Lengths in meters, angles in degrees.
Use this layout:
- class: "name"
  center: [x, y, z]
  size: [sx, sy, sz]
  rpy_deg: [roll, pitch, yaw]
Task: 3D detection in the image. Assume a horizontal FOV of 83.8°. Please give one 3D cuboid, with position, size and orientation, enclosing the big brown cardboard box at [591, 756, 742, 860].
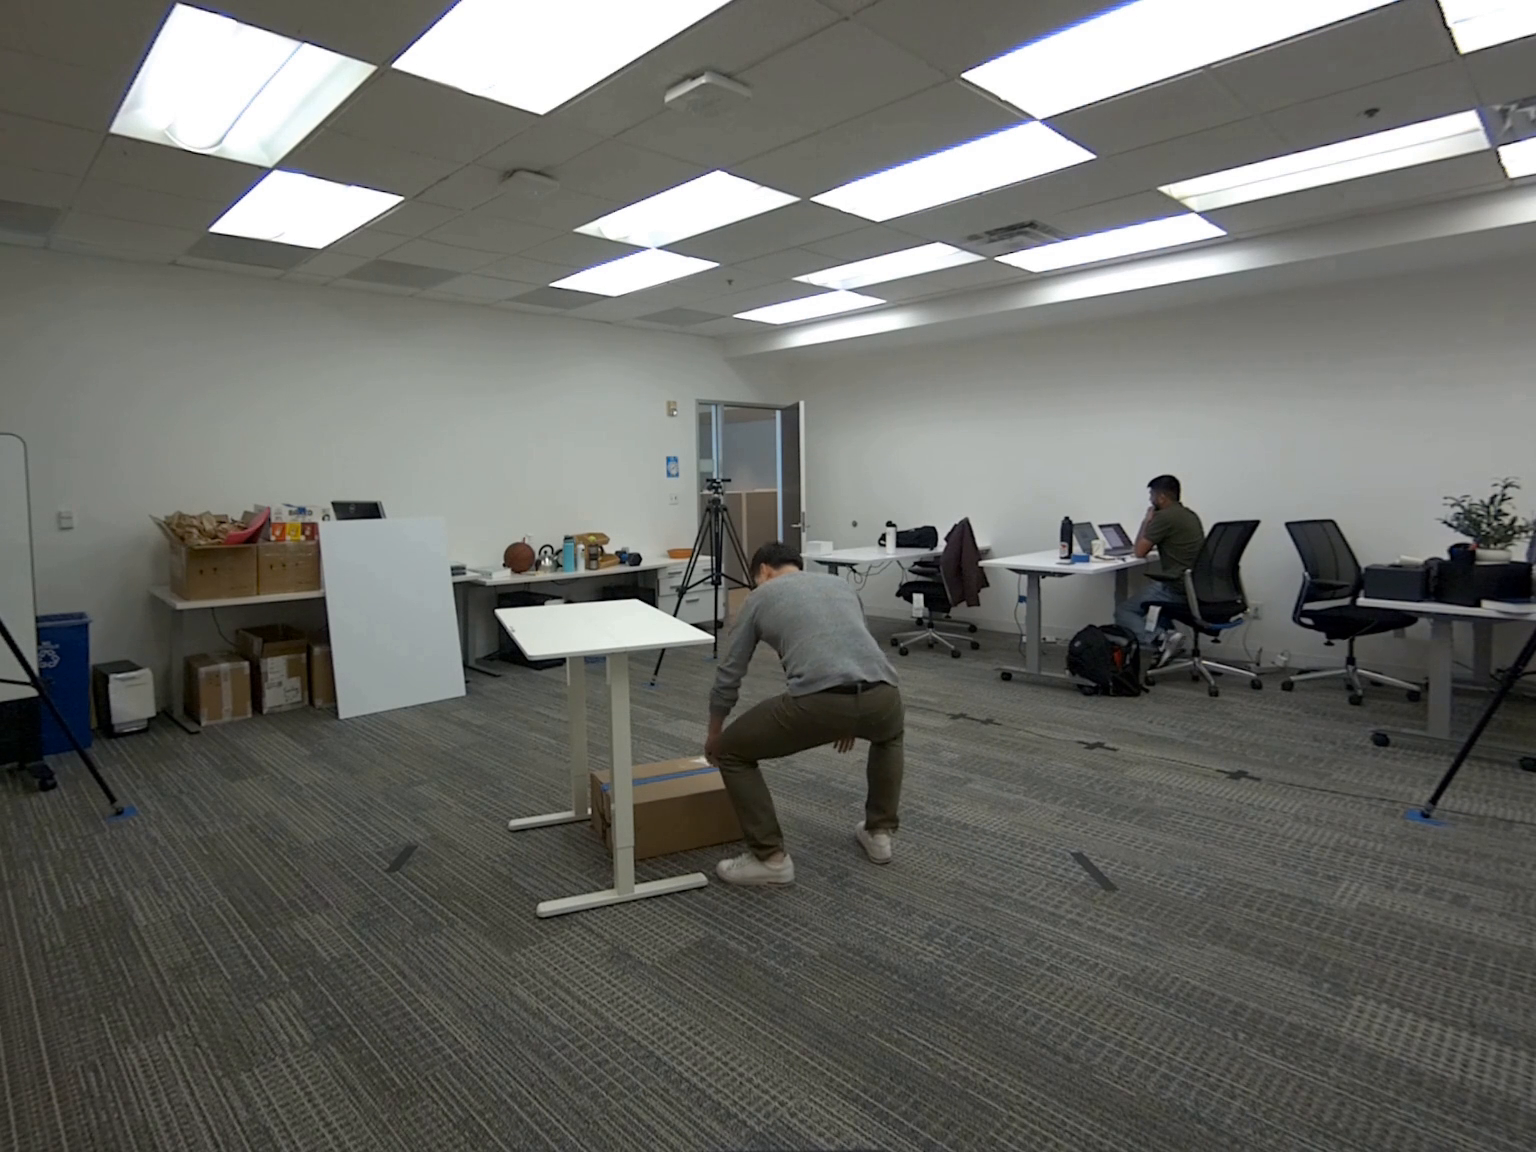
- class: "big brown cardboard box"
  center: [-0.382, 0.904, 3.409]
  size: [0.577, 0.232, 0.428]
  rpy_deg: [-5, 7, -24]
